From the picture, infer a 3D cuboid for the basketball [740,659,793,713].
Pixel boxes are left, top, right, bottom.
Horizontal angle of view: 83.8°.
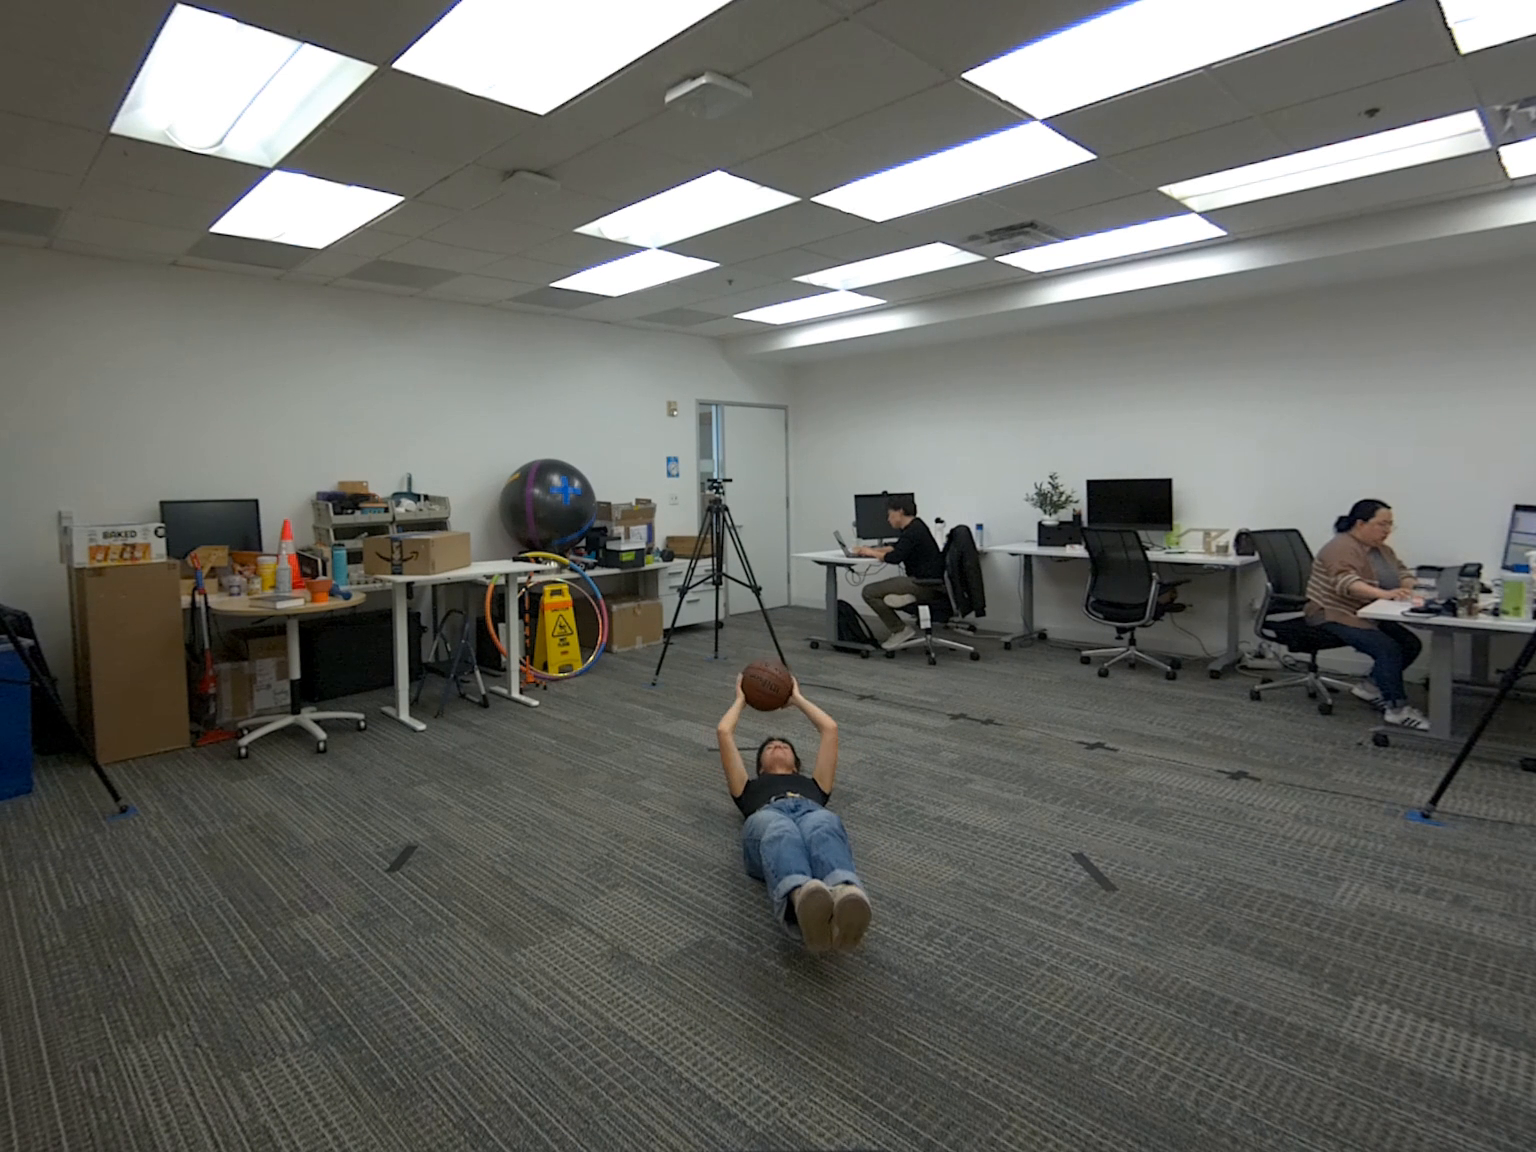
[{"bbox_3d":[-0.007,0.497,3.835,0.236,0.235,0.237,-1,5,-2],"label":"basketball"}]
